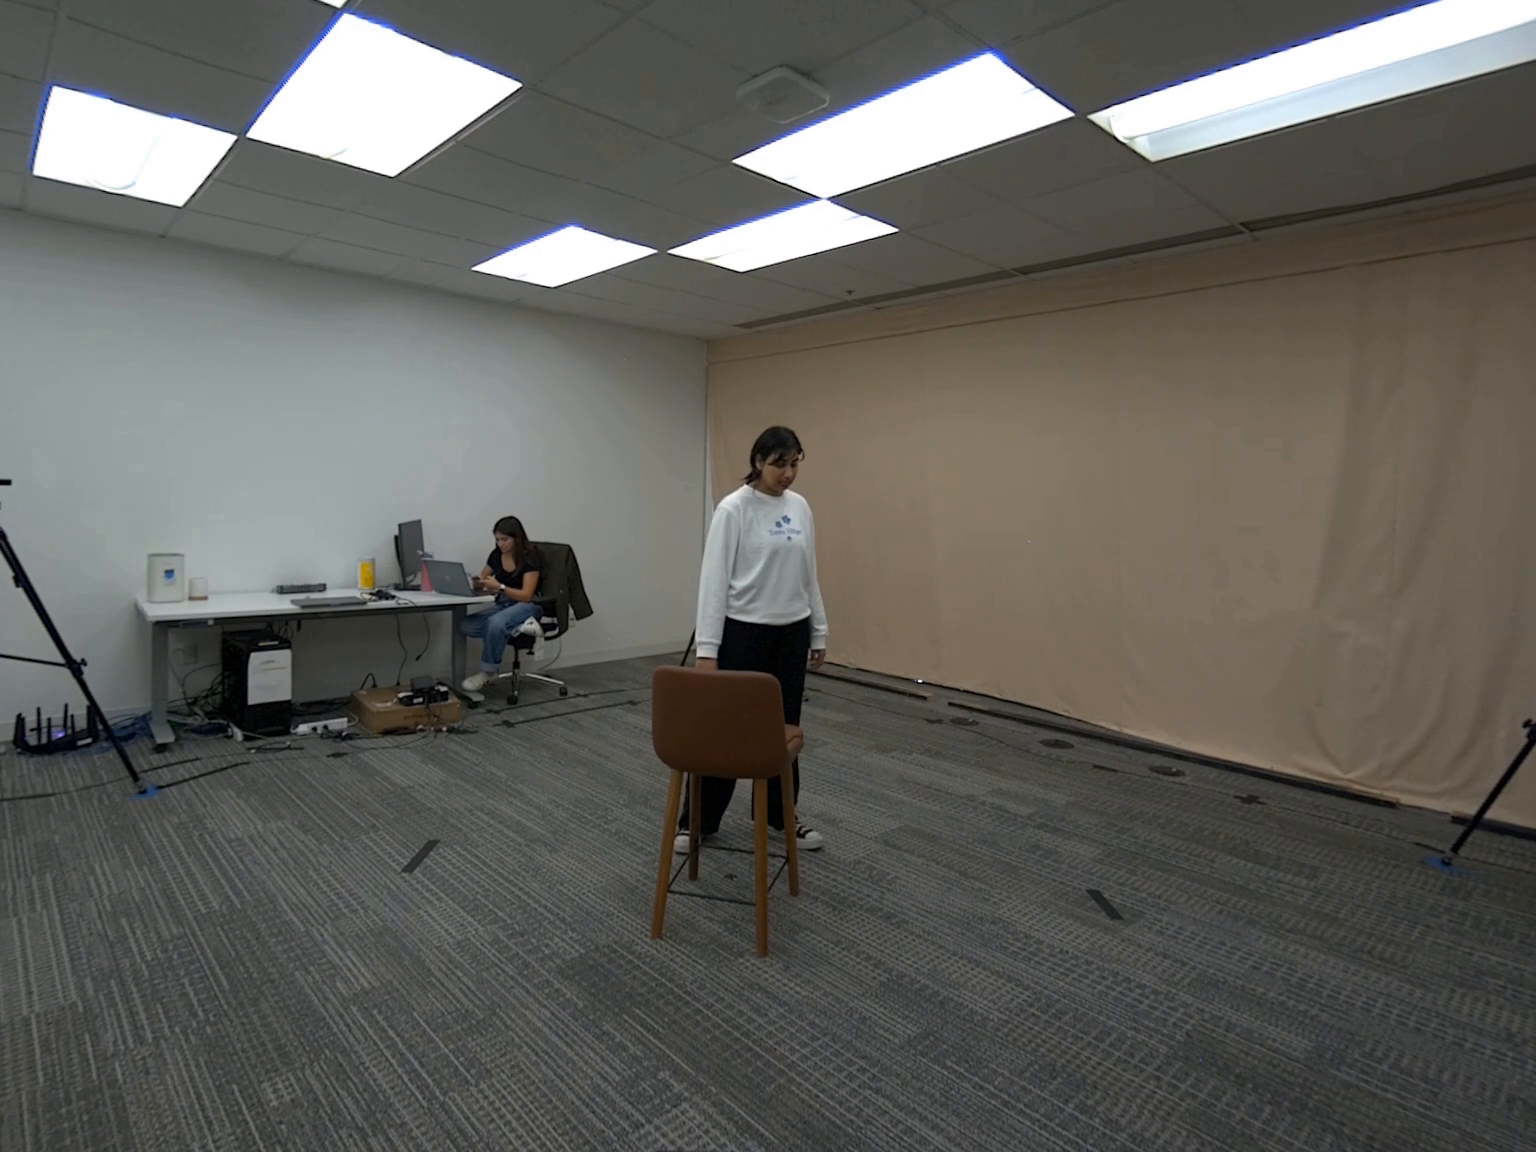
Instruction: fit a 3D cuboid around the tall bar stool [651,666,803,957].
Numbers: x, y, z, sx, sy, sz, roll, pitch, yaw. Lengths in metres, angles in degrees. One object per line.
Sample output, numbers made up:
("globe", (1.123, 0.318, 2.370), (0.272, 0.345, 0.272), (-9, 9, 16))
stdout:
("tall bar stool", (-0.140, 0.705, 2.790), (0.462, 0.886, 0.463), (2, 5, 15))
